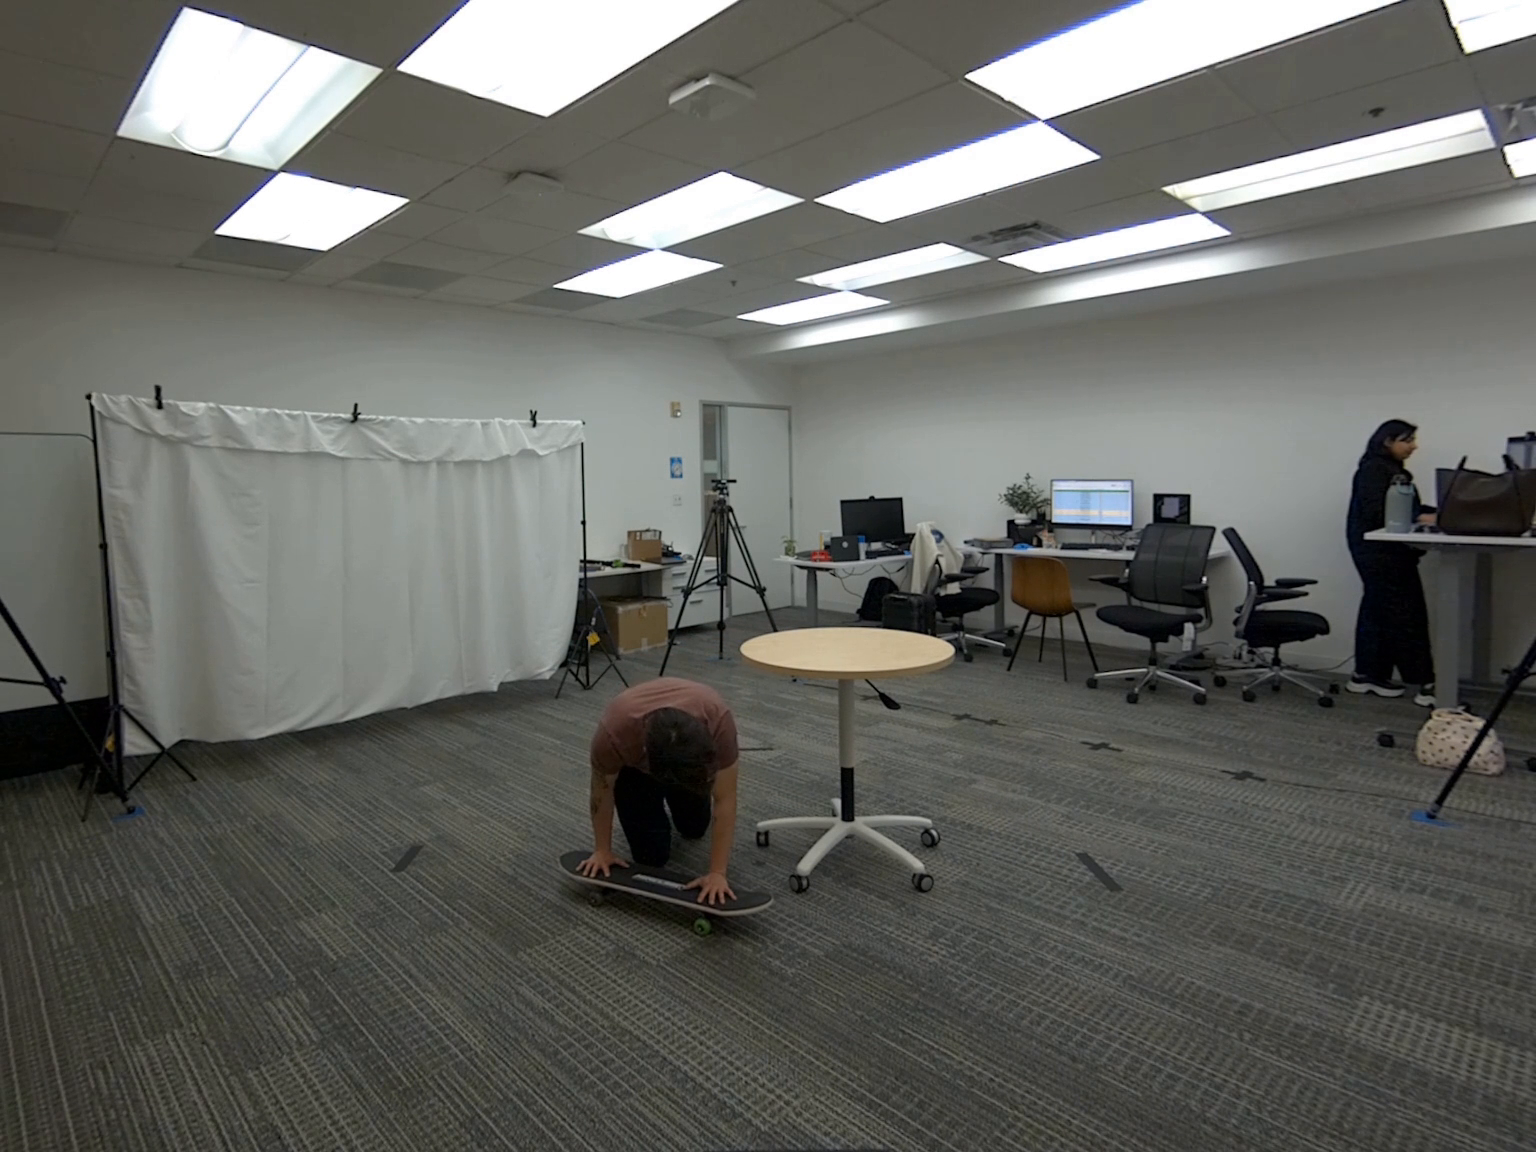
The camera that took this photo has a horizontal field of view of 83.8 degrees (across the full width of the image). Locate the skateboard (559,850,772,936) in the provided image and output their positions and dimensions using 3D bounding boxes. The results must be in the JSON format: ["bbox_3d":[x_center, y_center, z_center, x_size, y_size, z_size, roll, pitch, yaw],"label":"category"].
[{"bbox_3d":[-0.346,1.042,2.788,0.804,0.110,0.189,2,2,27],"label":"skateboard"}]
